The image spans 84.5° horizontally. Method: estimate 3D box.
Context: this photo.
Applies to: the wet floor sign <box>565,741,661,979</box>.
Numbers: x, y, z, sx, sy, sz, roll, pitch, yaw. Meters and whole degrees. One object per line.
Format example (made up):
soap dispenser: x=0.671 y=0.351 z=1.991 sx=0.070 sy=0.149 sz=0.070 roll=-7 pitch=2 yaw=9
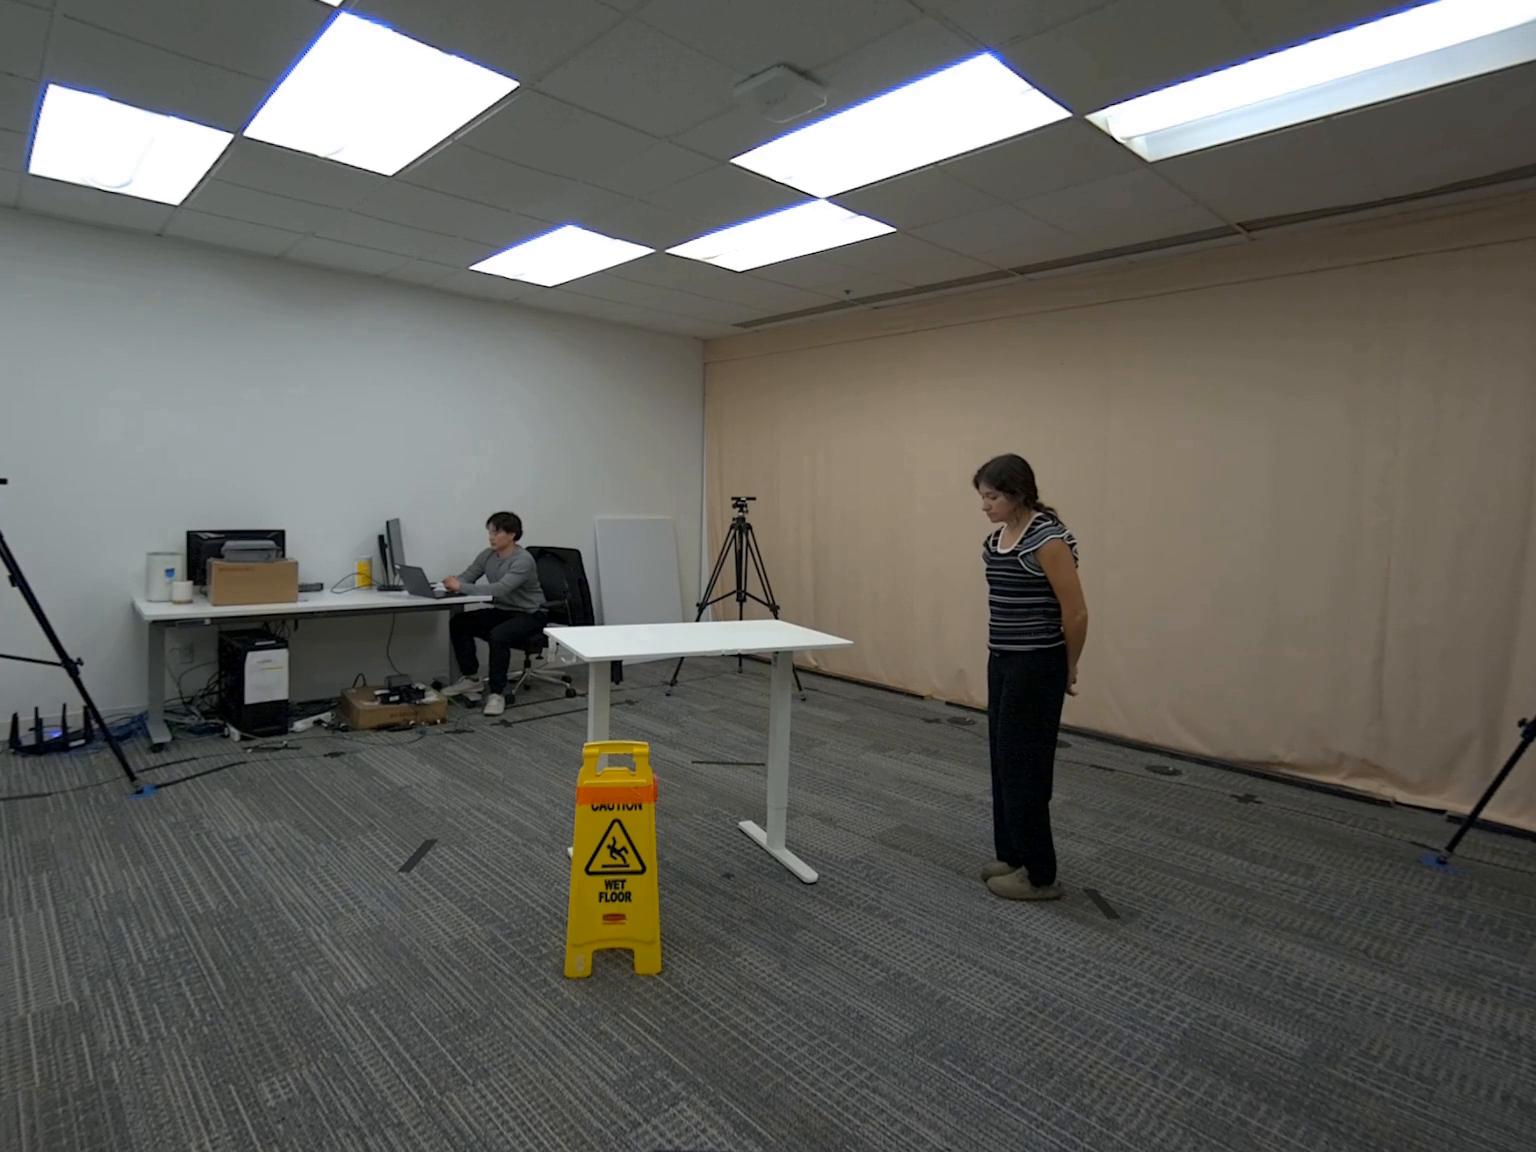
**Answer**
wet floor sign: x=-0.480 y=0.830 z=2.536 sx=0.281 sy=0.644 sz=0.292 roll=0 pitch=5 yaw=-7
